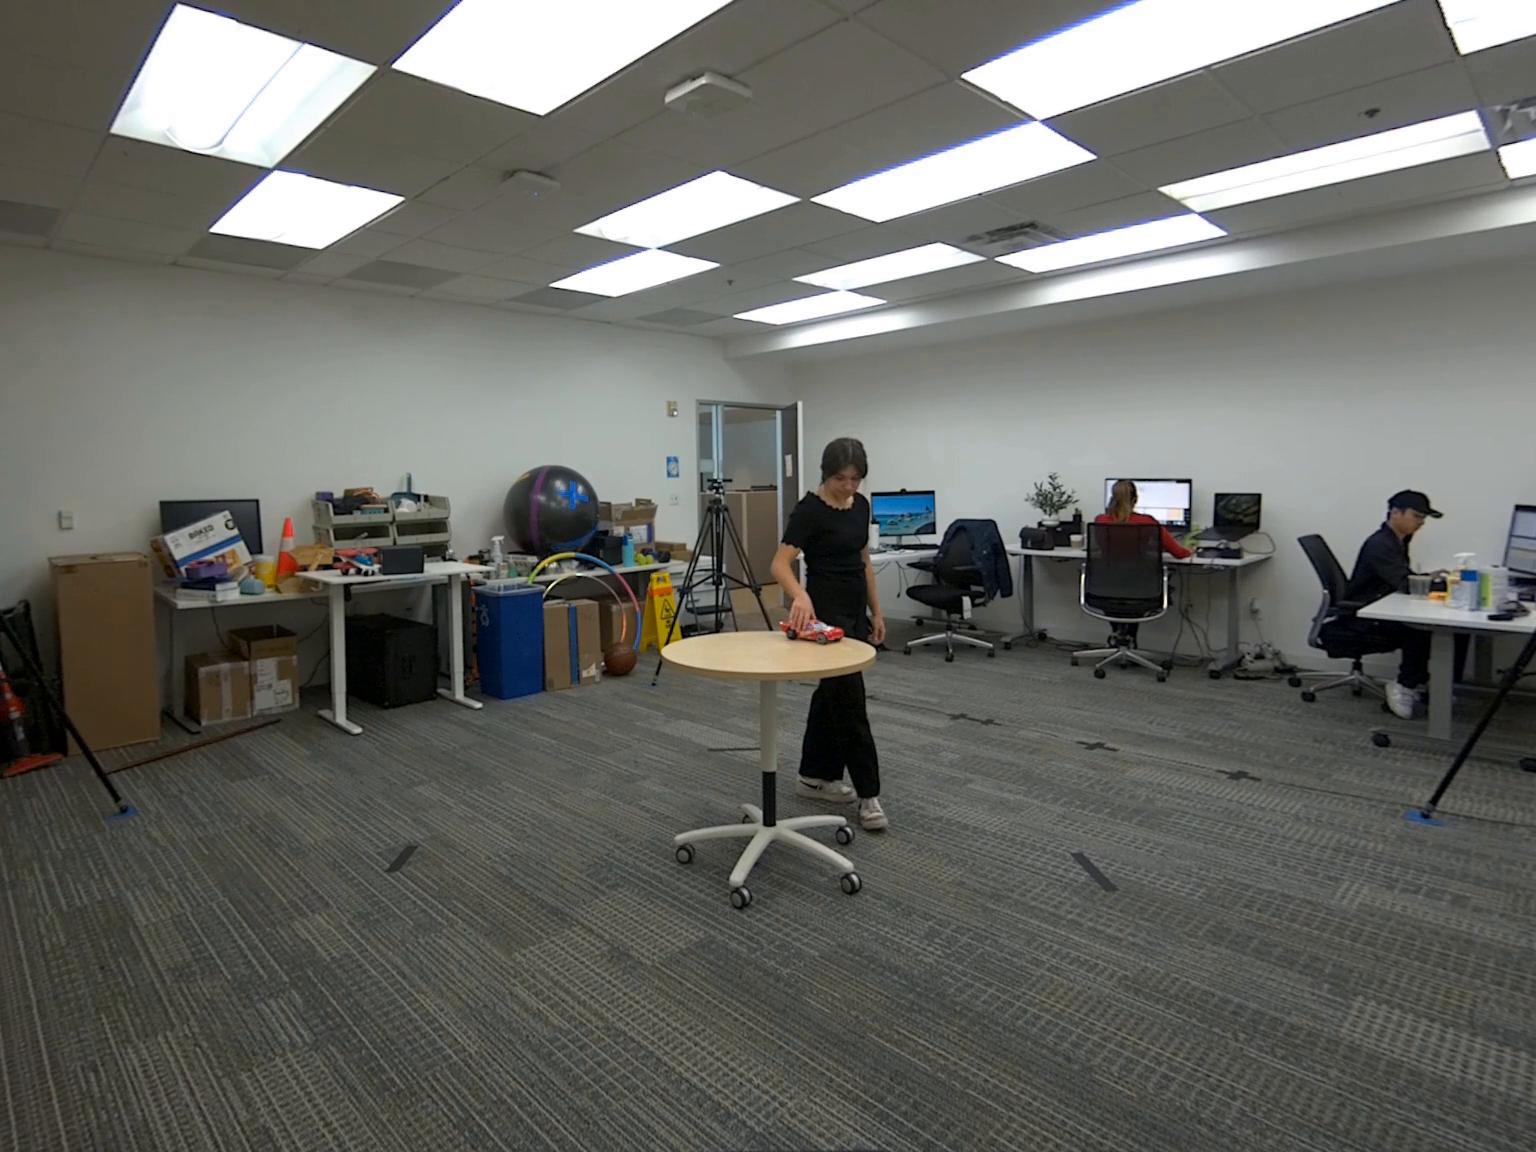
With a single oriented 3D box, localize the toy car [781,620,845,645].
[{"bbox_3d":[0.162,0.213,3.253,0.264,0.082,0.127,20,19,41],"label":"toy car"}]
